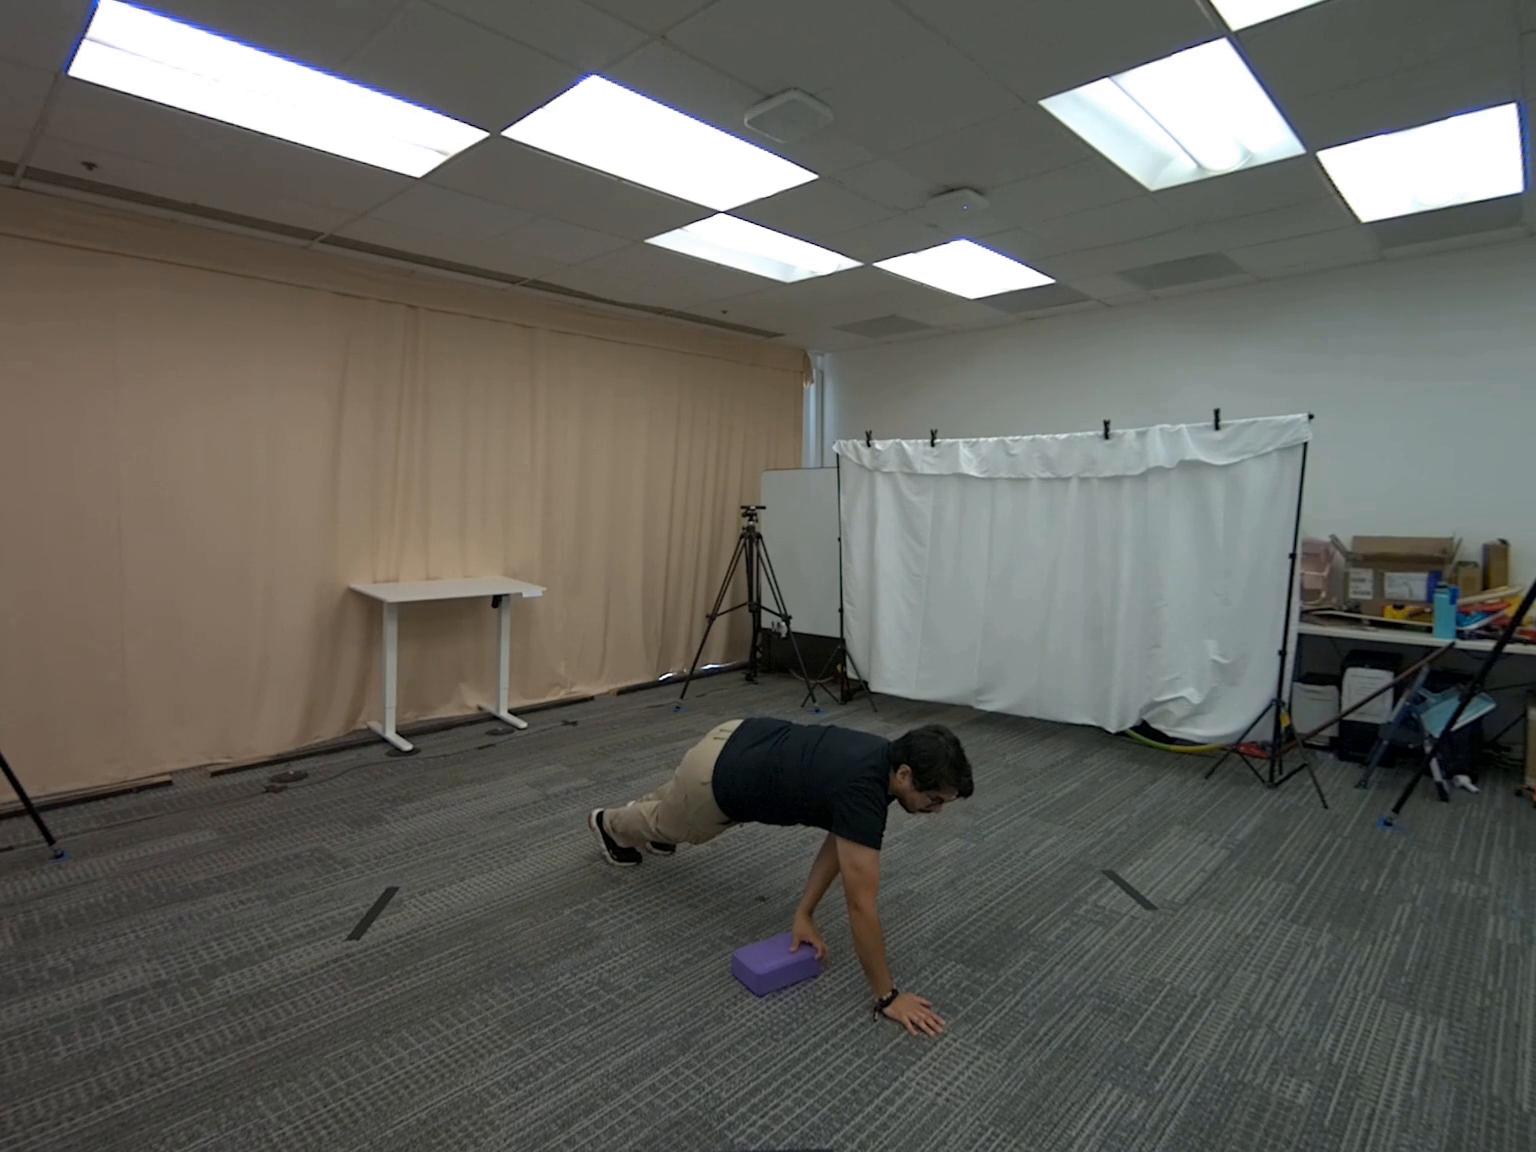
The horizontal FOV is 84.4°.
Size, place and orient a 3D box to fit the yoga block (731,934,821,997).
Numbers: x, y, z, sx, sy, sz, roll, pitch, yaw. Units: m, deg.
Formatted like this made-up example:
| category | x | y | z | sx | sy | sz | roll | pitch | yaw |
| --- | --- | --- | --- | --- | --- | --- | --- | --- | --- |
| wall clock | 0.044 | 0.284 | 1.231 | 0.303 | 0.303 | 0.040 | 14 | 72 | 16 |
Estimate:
| category | x | y | z | sx | sy | sz | roll | pitch | yaw |
| --- | --- | --- | --- | --- | --- | --- | --- | --- | --- |
| yoga block | 0.026 | 1.146 | 2.494 | 0.223 | 0.076 | 0.153 | -3 | 7 | -32 |
